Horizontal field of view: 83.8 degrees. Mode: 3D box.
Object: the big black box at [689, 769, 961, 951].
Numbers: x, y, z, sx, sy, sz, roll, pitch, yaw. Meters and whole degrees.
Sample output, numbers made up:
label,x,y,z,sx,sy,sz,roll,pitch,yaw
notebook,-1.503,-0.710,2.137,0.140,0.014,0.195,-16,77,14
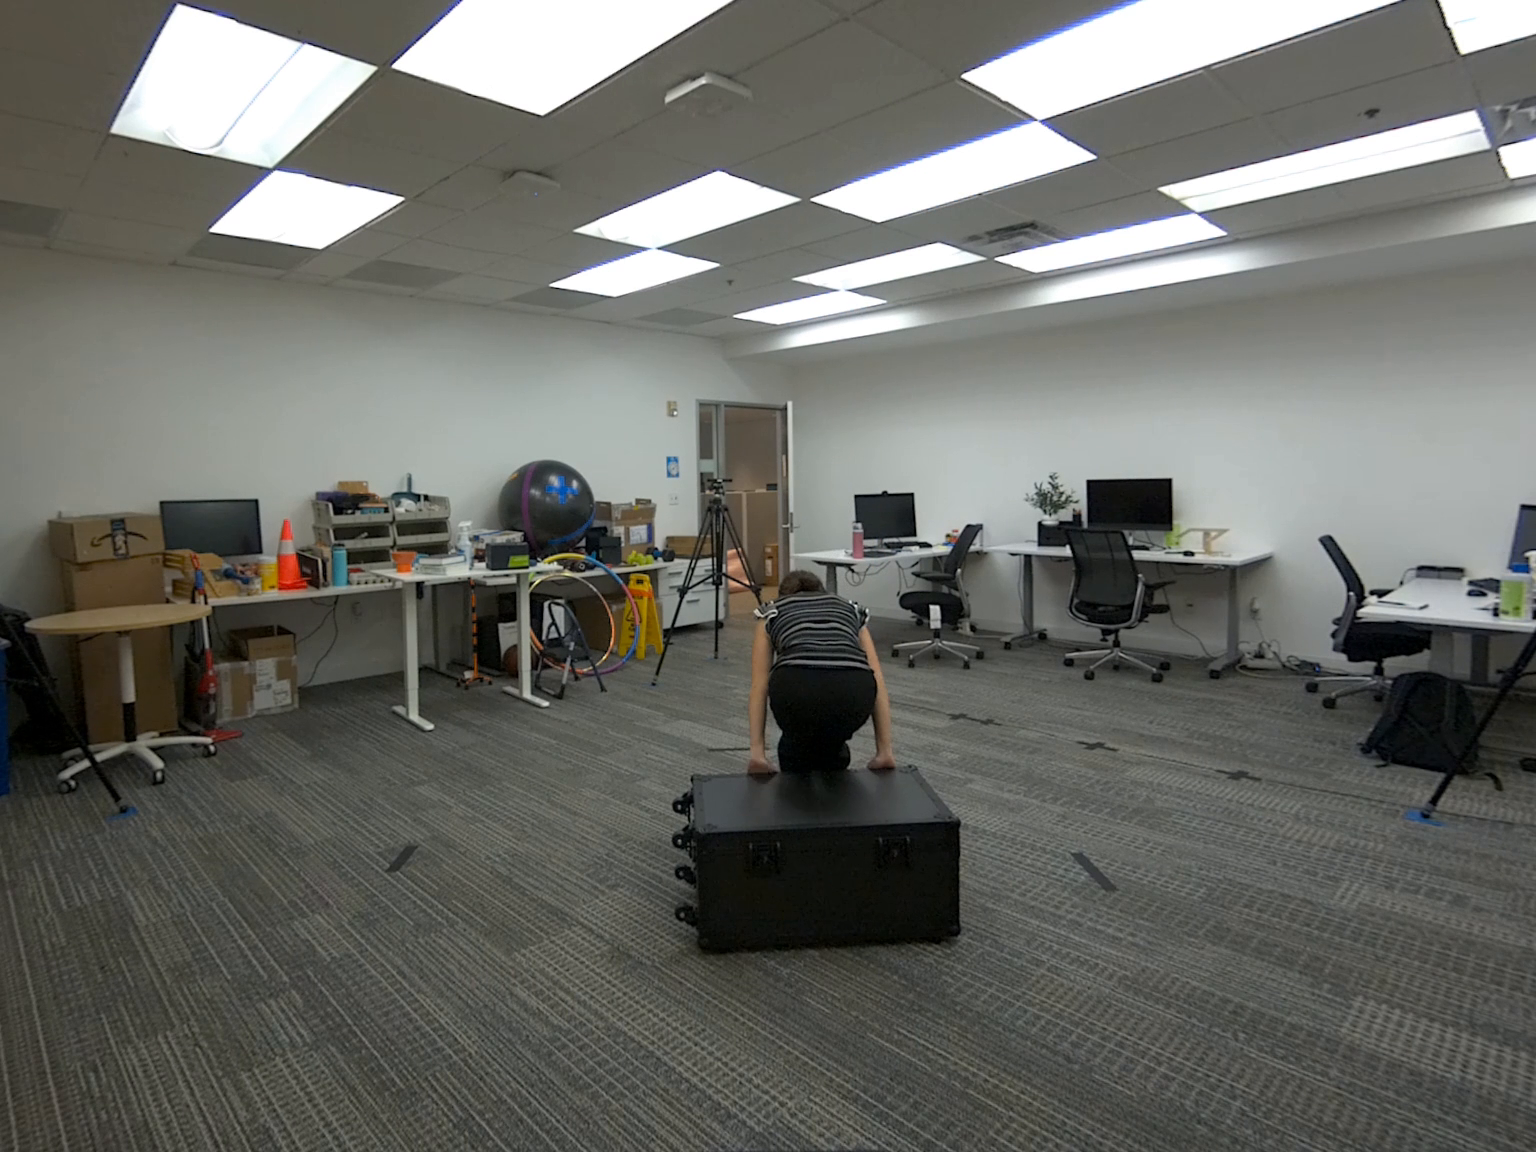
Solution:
label,x,y,z,sx,sy,sz,roll,pitch,yaw
big black box,0.123,0.888,2.750,0.857,0.395,0.526,-2,5,-5
